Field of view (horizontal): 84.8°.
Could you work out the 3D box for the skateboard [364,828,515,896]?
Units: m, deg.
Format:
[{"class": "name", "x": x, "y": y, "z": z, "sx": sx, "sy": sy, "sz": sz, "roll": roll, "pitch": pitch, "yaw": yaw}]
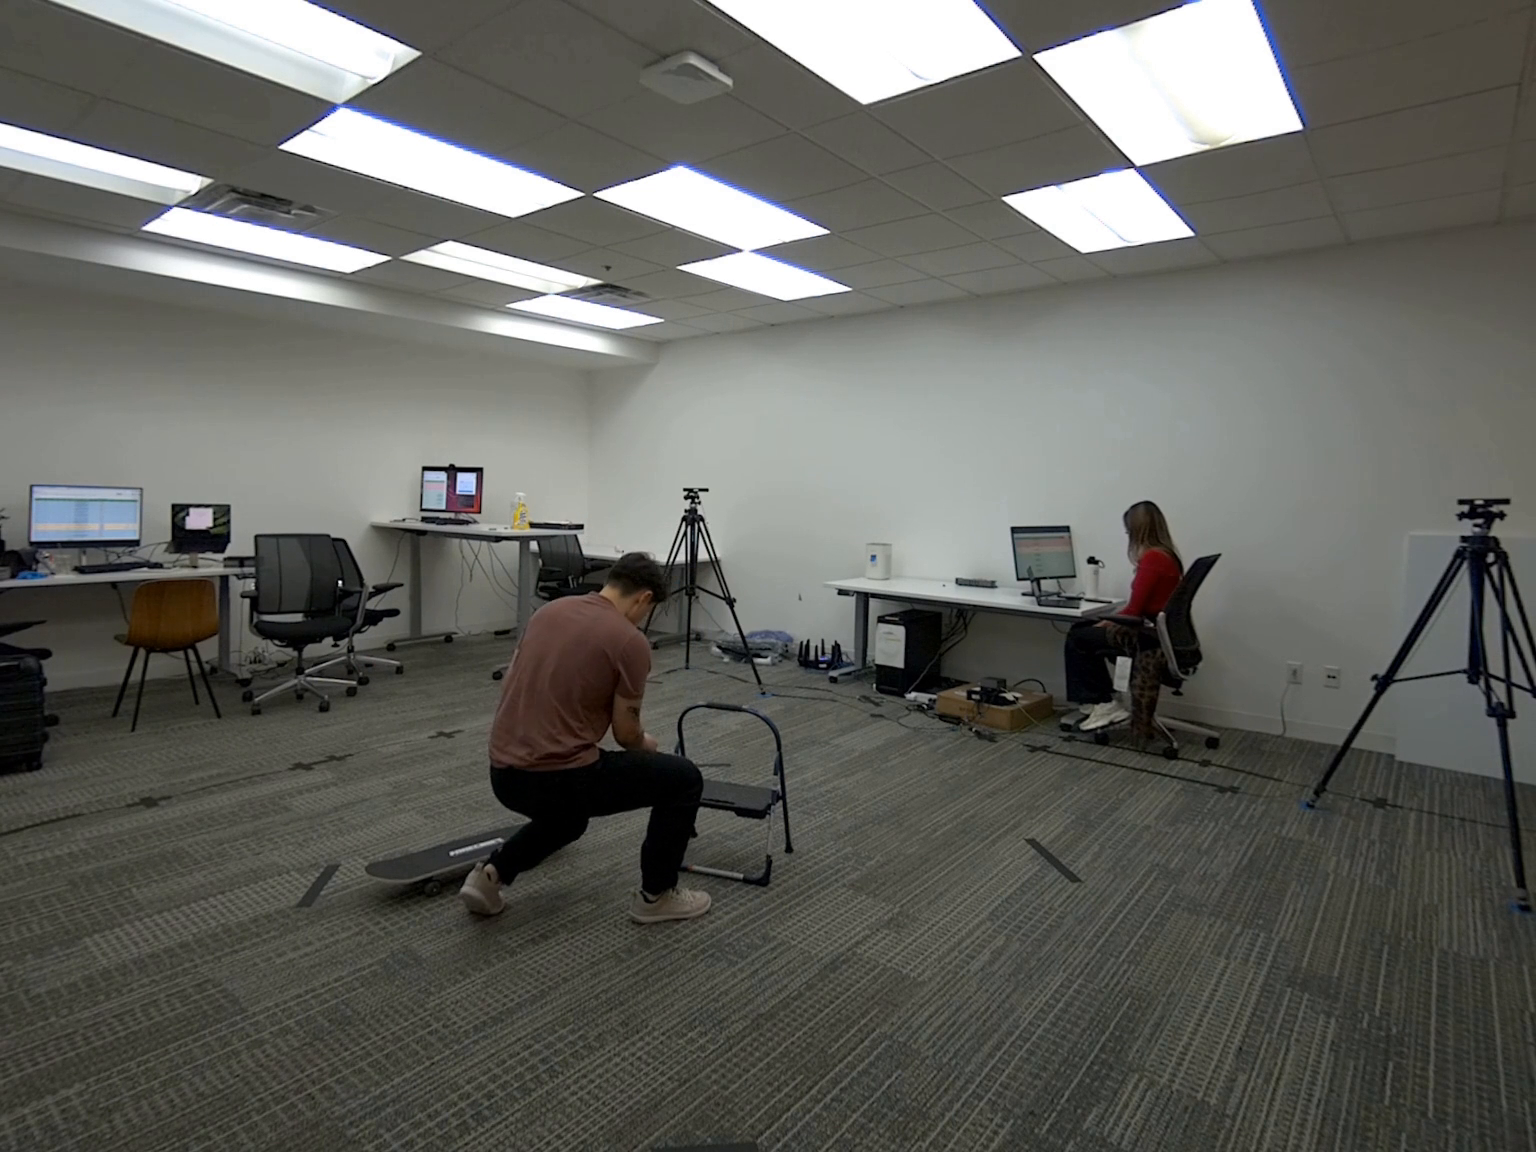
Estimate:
[{"class": "skateboard", "x": -1.058, "y": 1.006, "z": 3.068, "sx": 0.762, "sy": 0.110, "sz": 0.200, "roll": -5, "pitch": 7, "yaw": -42}]
